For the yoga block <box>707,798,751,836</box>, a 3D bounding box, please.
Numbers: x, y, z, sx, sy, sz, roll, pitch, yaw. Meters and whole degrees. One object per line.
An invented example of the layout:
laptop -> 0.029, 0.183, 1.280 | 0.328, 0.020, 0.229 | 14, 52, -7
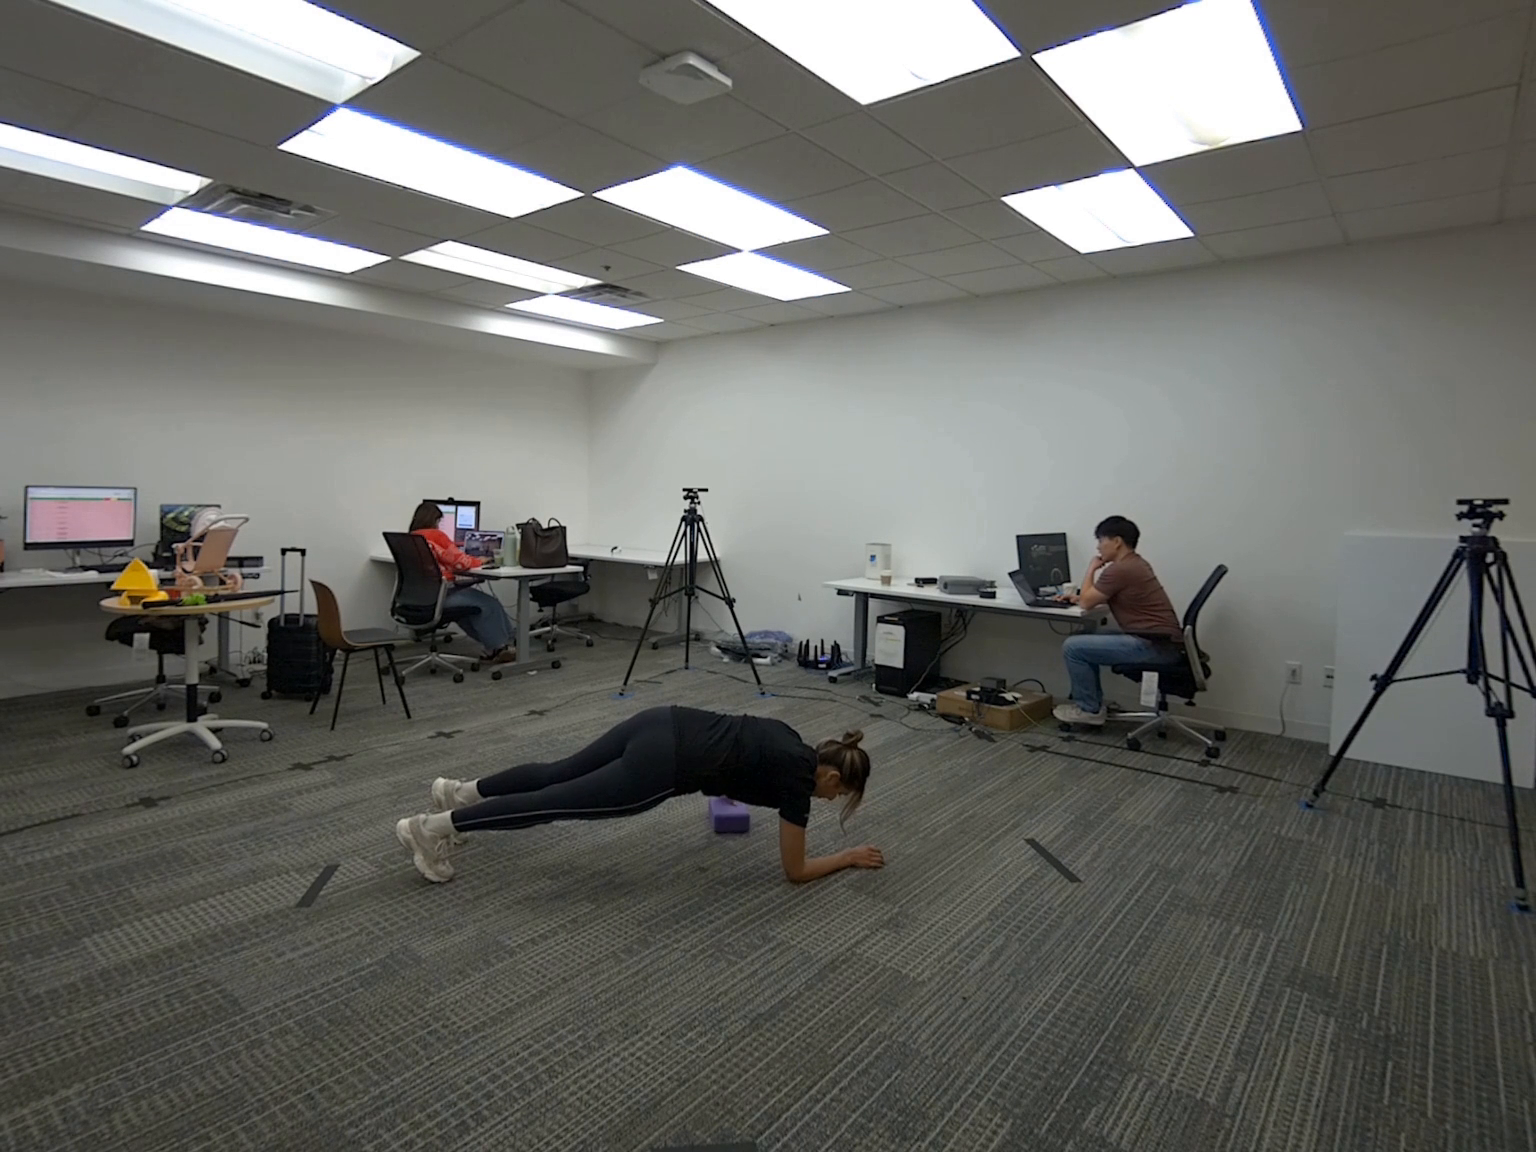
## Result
yoga block -> -0.171, 0.989, 3.543 | 0.147, 0.076, 0.232 | -1, 5, -11
